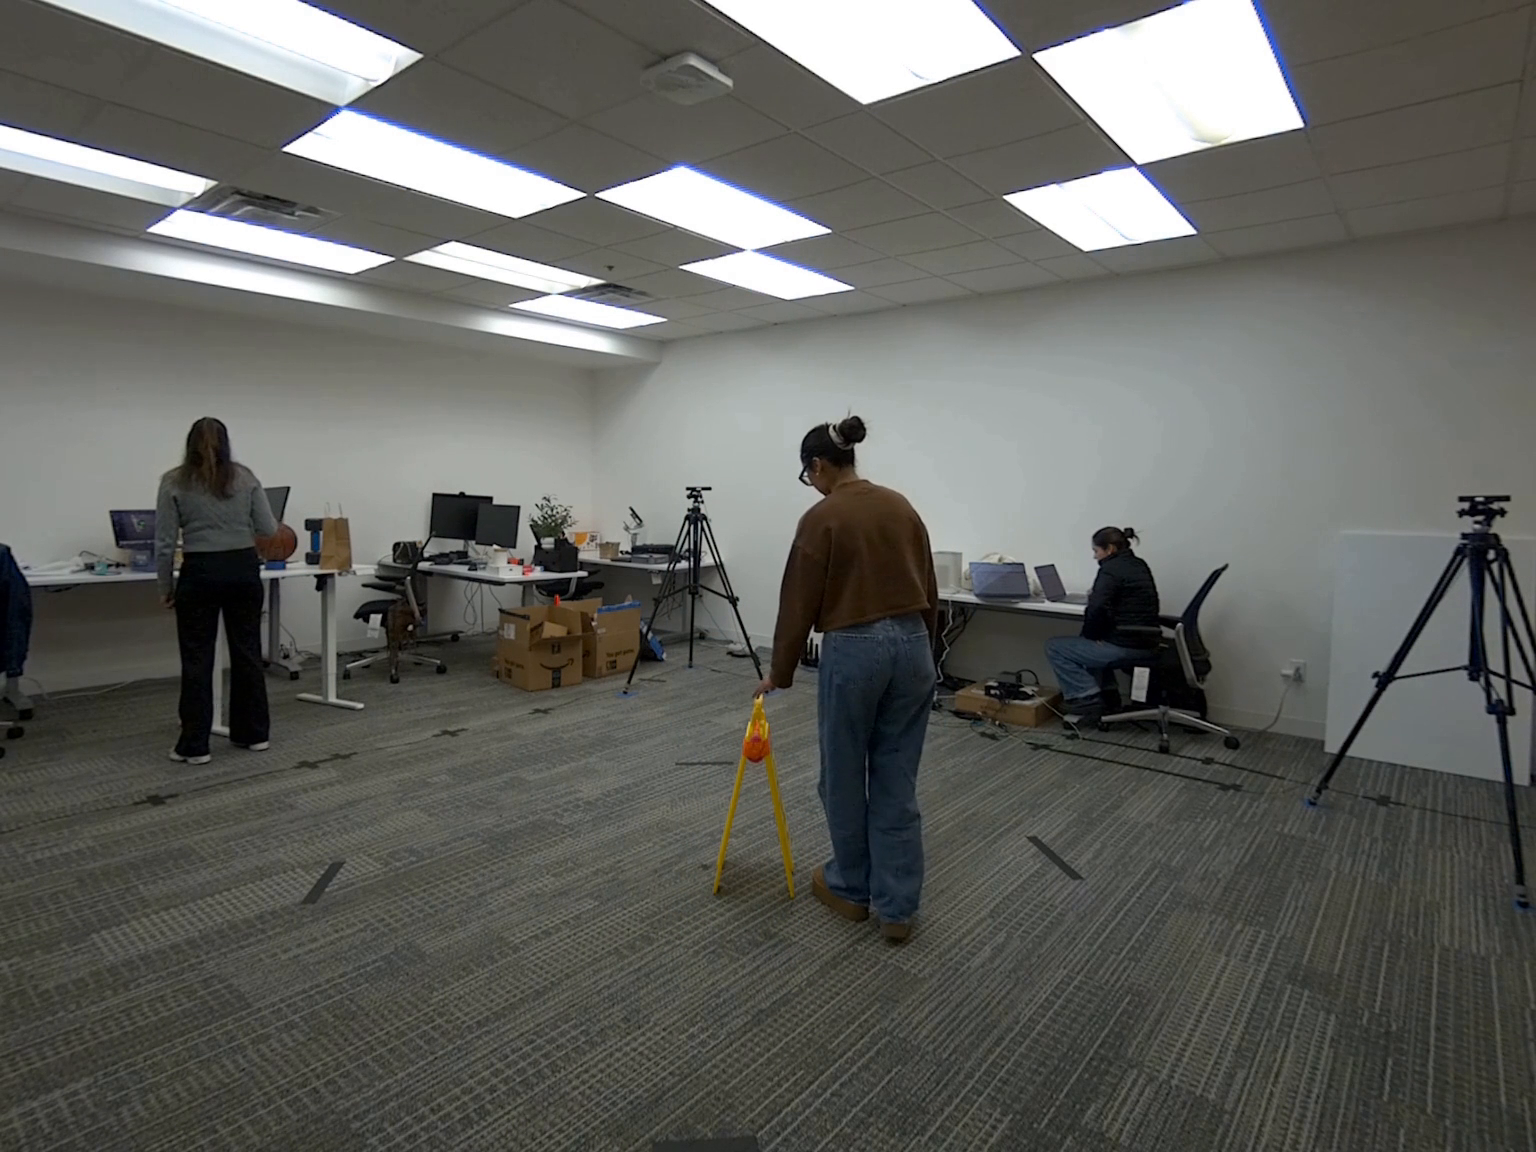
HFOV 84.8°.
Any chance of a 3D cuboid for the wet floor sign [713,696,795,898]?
[{"bbox_3d":[-0.046,0.759,3.022,0.291,0.644,0.282,2,3,3],"label":"wet floor sign"}]
